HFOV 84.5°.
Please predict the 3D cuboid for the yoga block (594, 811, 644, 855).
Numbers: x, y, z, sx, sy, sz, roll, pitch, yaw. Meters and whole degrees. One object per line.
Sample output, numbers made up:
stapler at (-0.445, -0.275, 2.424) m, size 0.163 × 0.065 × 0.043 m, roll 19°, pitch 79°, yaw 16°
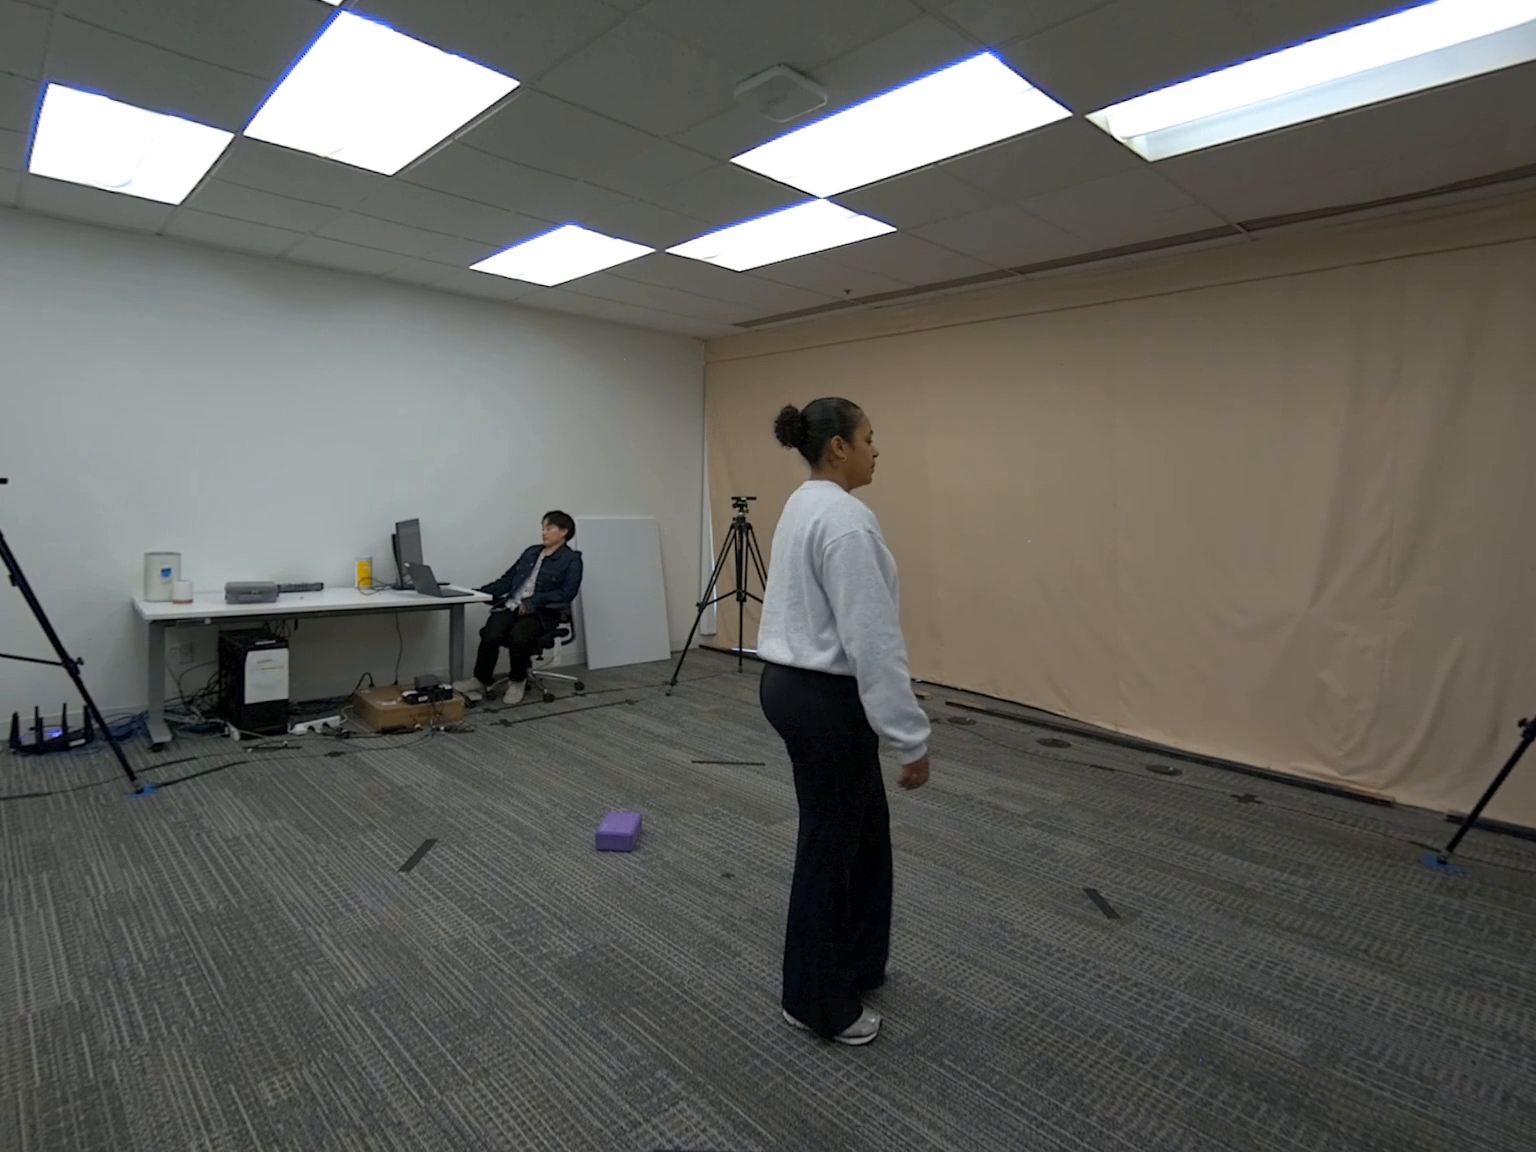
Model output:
yoga block at (-0.608, 1.029, 3.397) m, size 0.149 × 0.076 × 0.229 m, roll 3°, pitch 5°, yaw 3°
